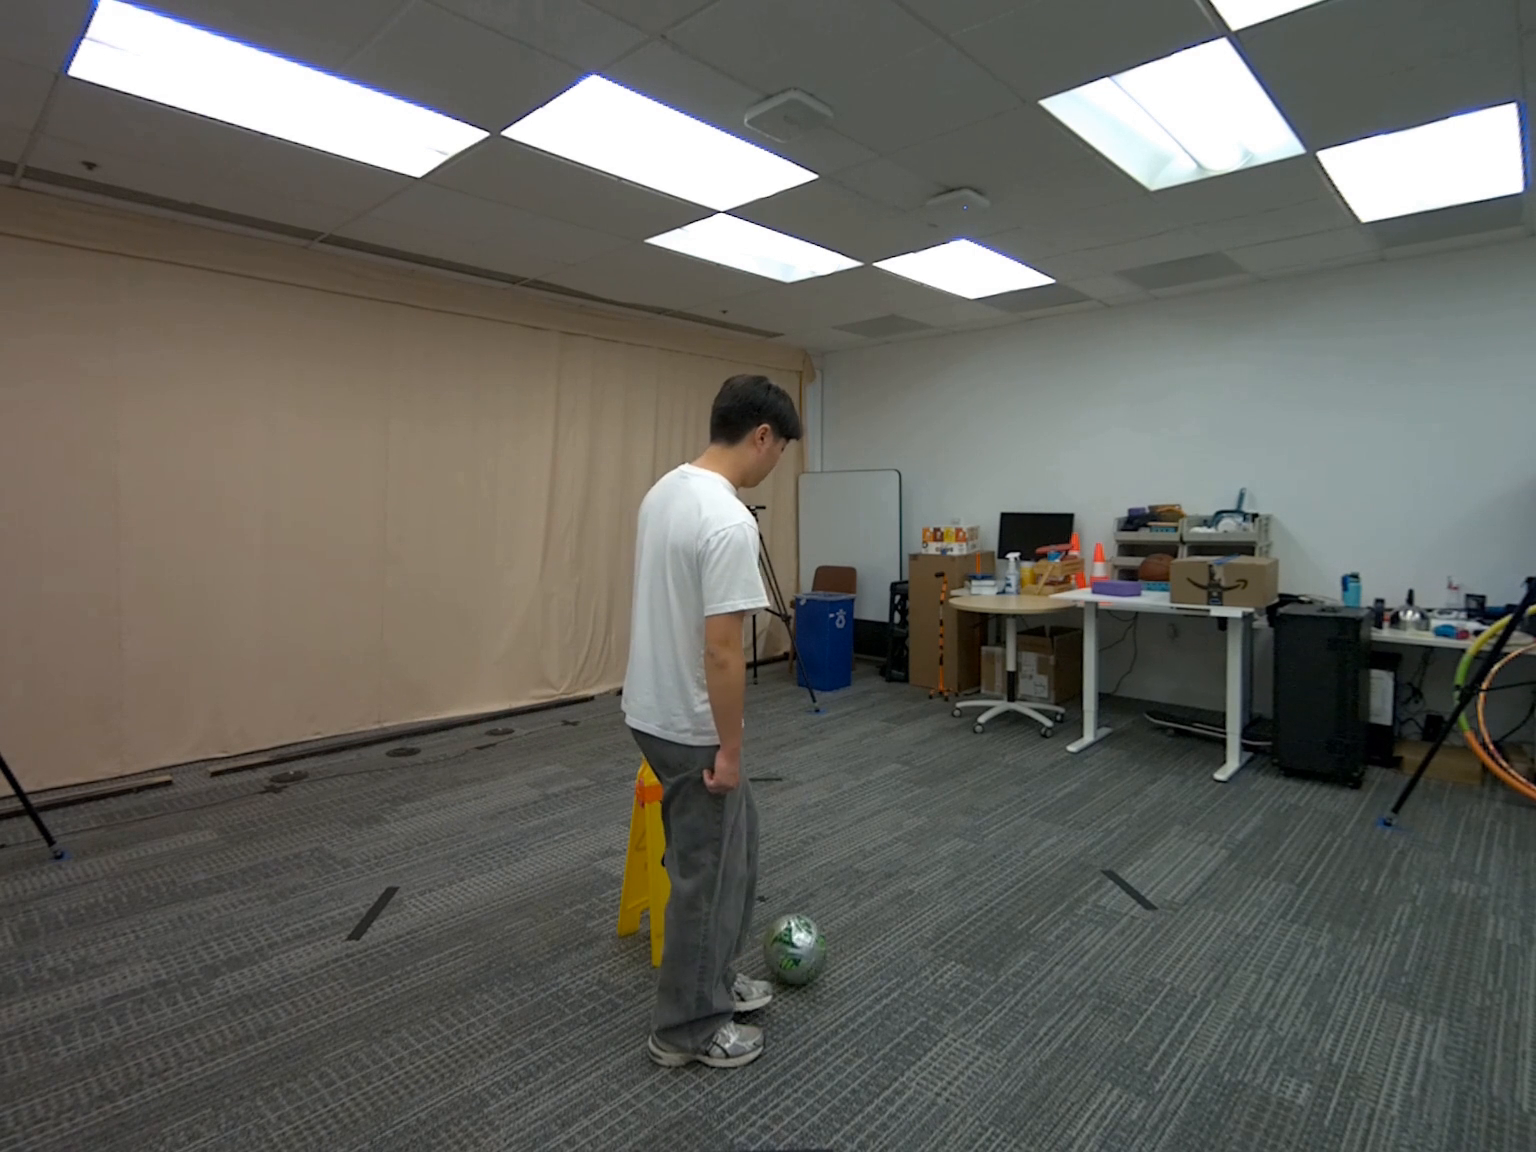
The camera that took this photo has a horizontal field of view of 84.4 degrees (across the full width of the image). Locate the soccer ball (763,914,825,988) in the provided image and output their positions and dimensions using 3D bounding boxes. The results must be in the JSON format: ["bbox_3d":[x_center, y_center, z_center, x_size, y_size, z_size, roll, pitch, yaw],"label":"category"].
[{"bbox_3d":[0.088,1.096,2.465,0.187,0.187,0.188,0,4,-2],"label":"soccer ball"}]
